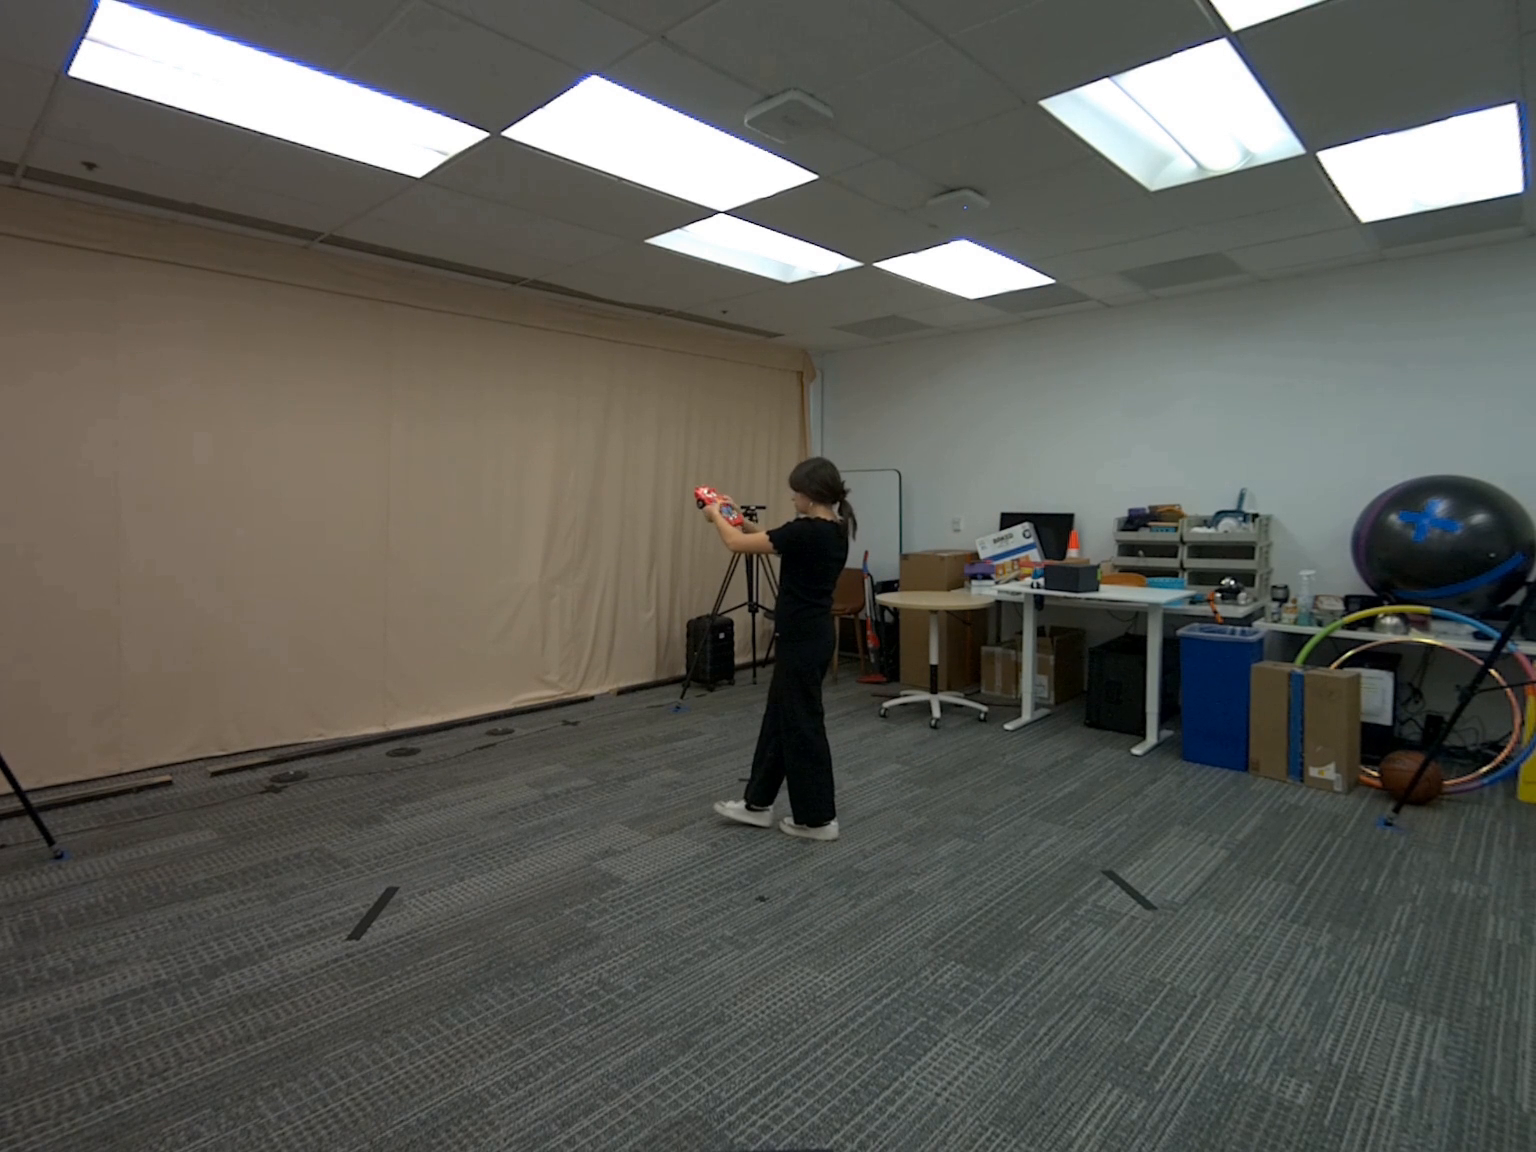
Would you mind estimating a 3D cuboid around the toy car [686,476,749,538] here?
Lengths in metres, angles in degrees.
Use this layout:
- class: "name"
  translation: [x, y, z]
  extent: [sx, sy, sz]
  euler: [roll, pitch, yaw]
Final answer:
- class: "toy car"
  translation: [-0.222, -0.304, 3.672]
  extent: [0.127, 0.259, 0.084]
  euler: [-17, -26, -50]
